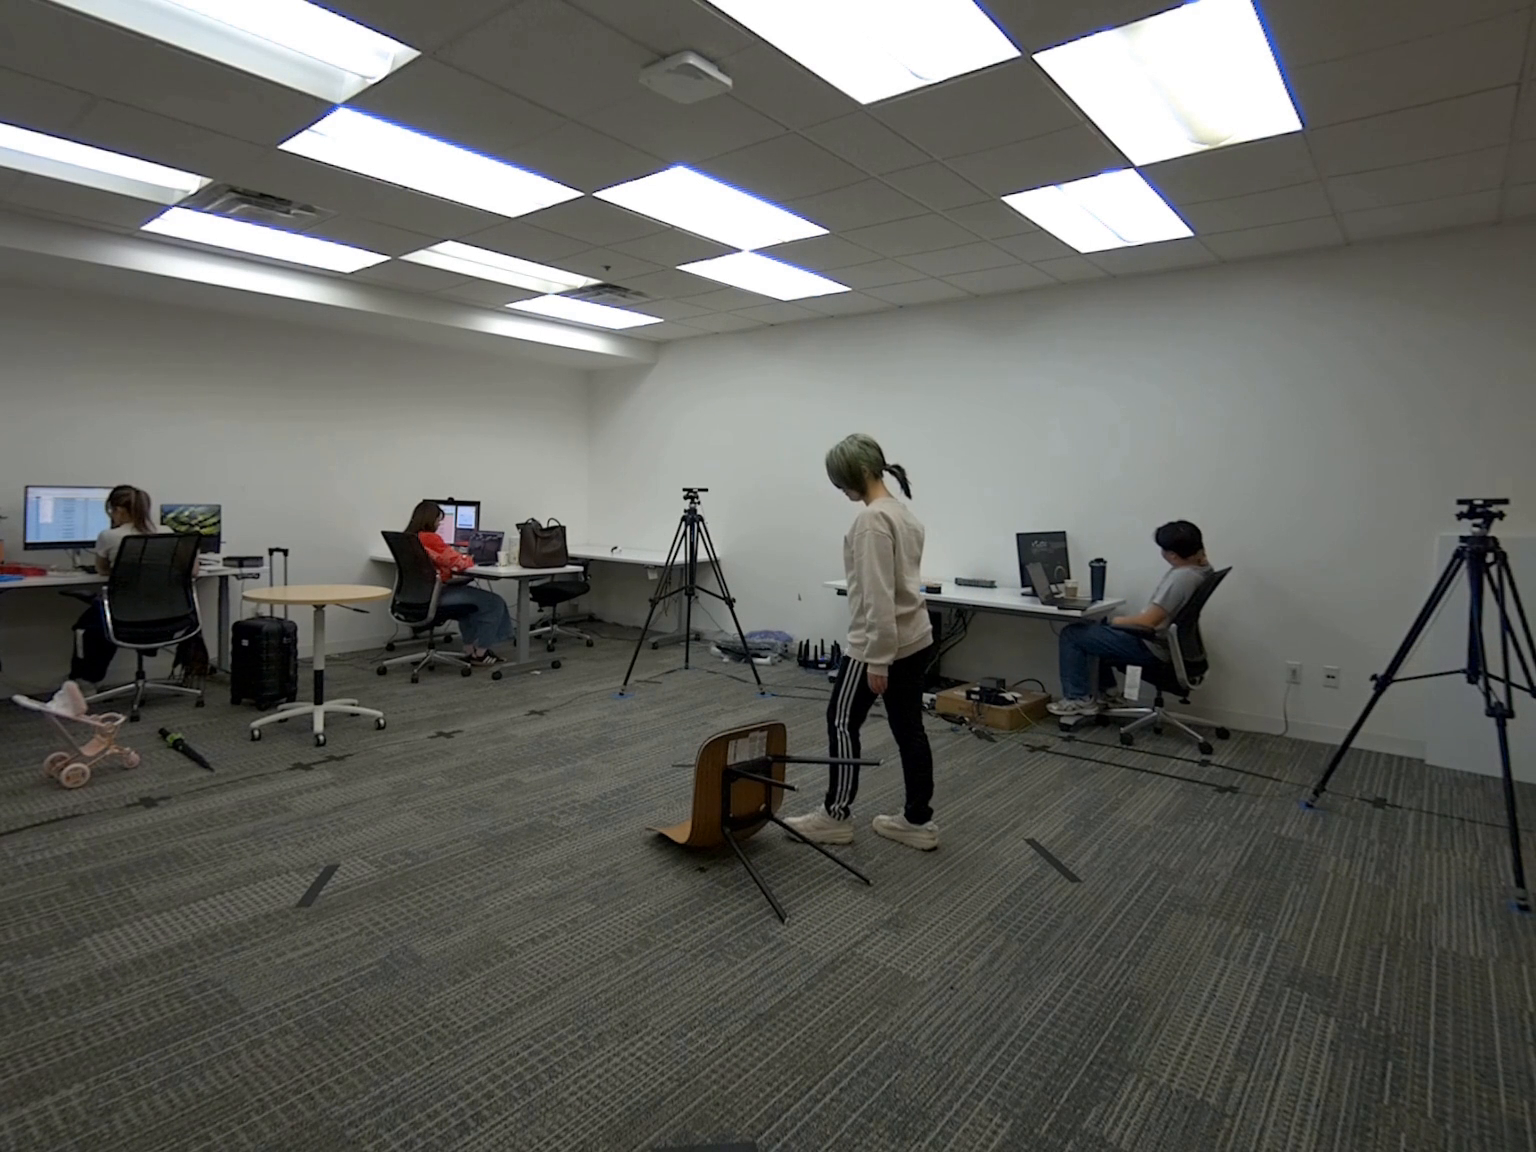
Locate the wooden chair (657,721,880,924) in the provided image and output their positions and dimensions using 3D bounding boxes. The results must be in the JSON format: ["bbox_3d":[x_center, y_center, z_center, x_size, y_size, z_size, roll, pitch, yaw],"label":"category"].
[{"bbox_3d":[-0.080,0.810,3.163,0.463,0.522,0.907,-2,4,-43],"label":"wooden chair"}]
